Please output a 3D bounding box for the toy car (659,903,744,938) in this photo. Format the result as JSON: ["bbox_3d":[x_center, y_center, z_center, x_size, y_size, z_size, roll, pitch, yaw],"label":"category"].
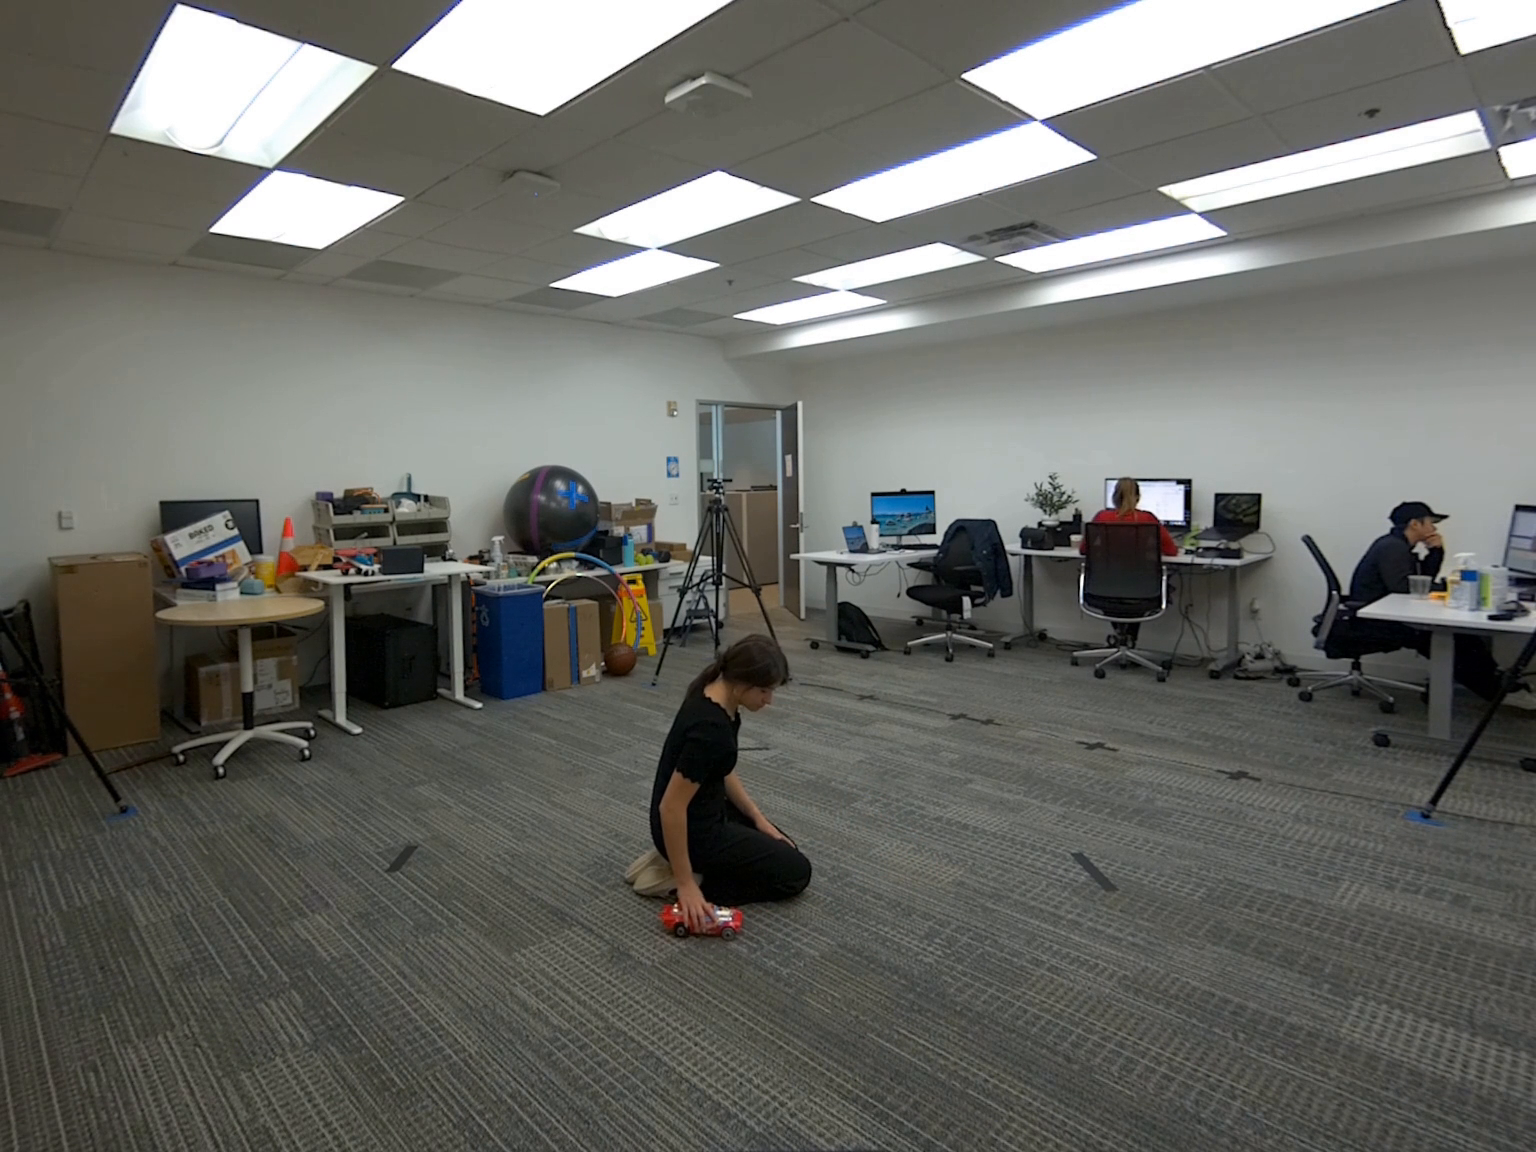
[{"bbox_3d":[-0.211,1.070,2.656,0.256,0.083,0.130,7,8,6],"label":"toy car"}]
